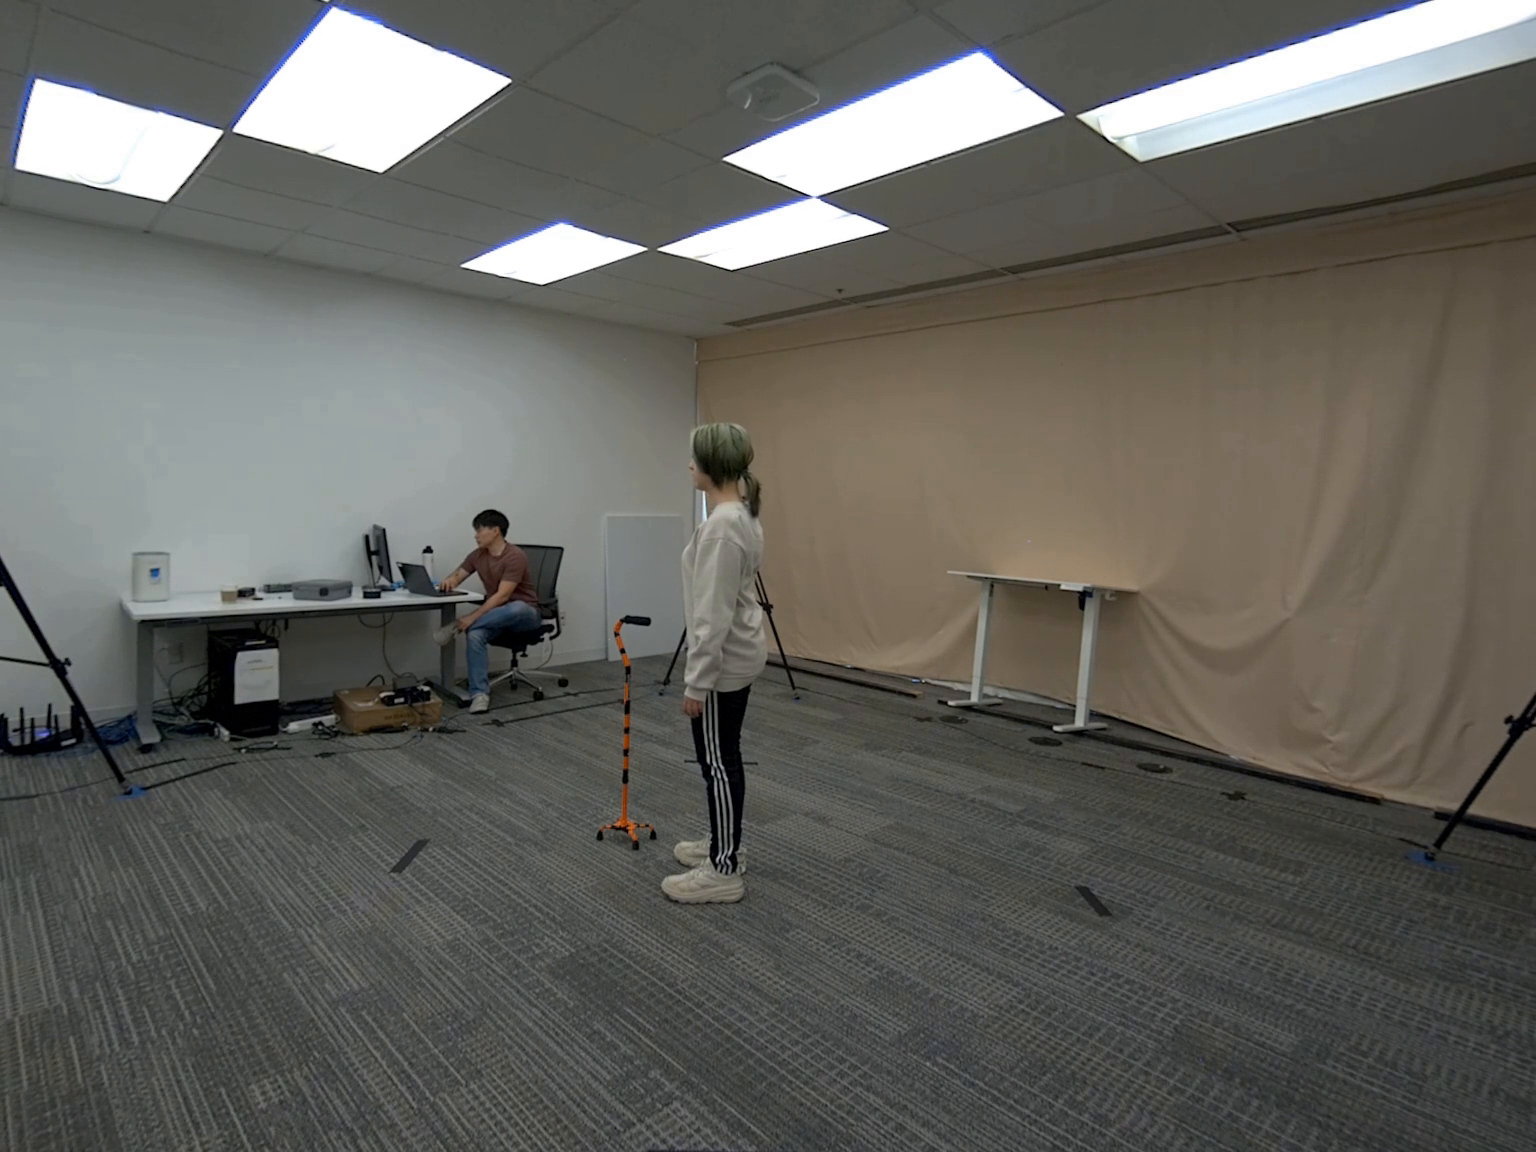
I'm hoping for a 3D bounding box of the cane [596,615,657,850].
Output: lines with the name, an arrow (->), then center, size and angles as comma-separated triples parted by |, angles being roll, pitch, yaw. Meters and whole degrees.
cane -> -0.571, 0.617, 3.387 | 0.210, 0.906, 0.149 | 2, 3, 27
